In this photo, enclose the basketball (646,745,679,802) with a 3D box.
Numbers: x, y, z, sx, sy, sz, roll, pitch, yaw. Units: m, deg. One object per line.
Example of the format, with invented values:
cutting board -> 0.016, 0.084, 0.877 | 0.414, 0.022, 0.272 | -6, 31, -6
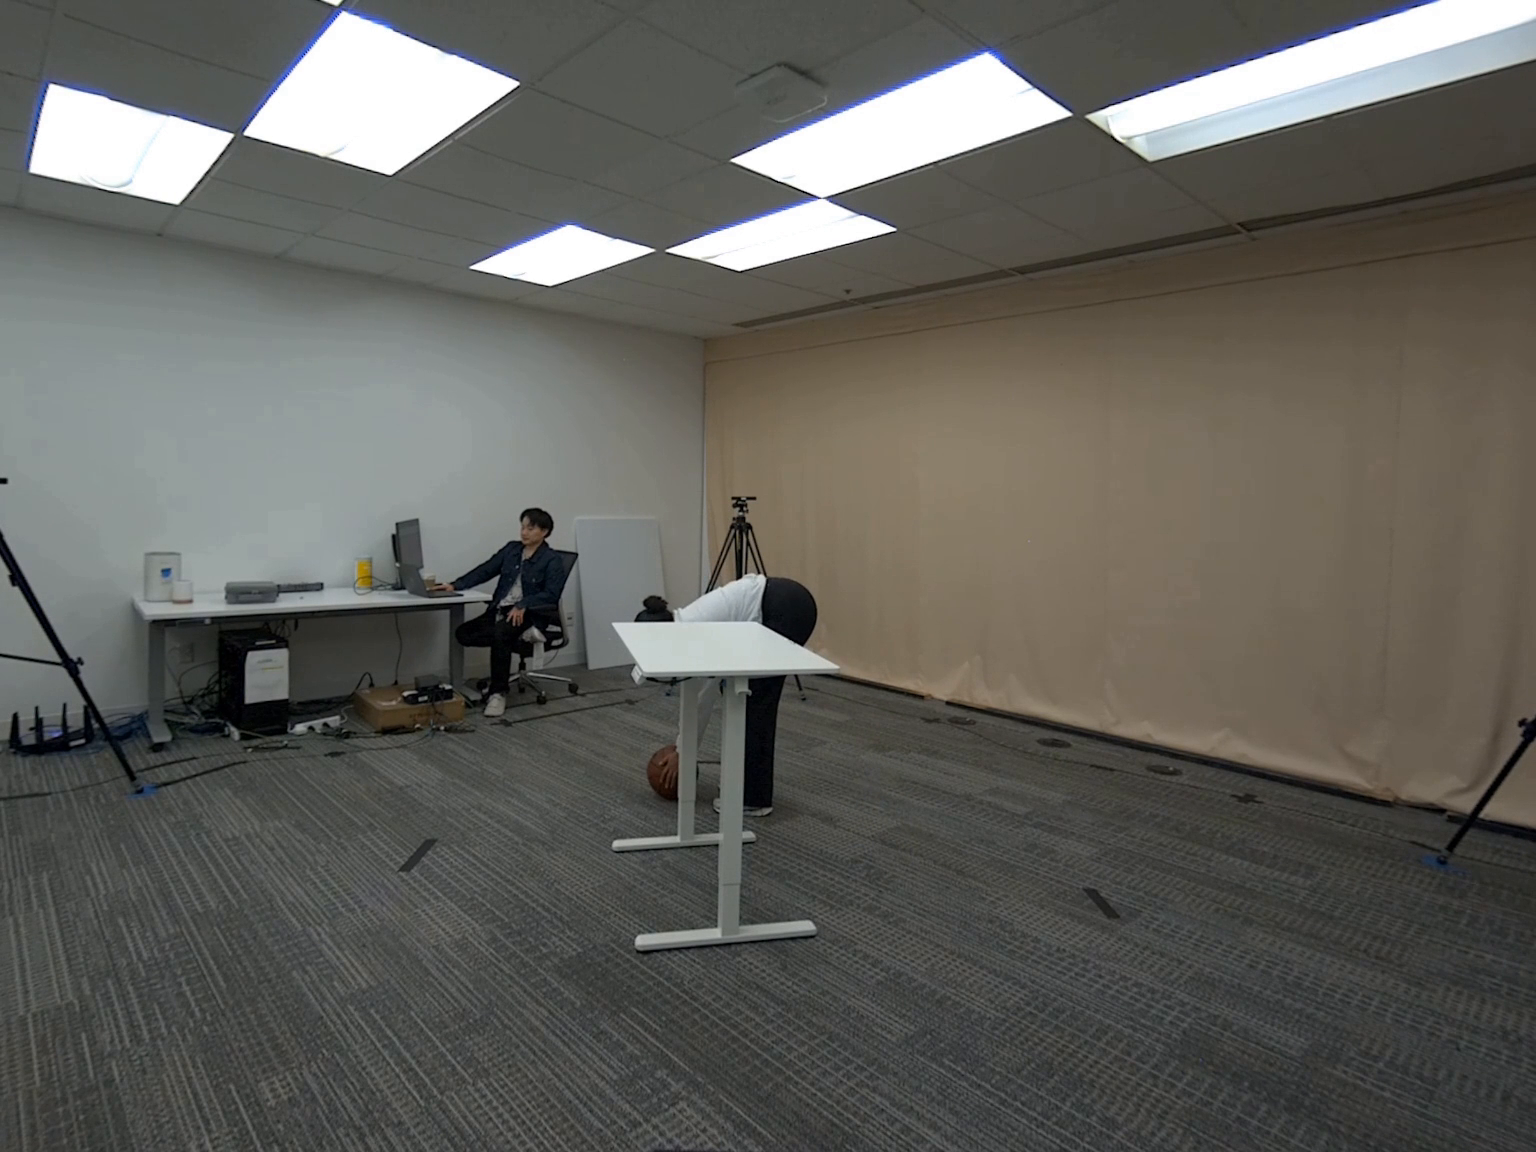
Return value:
basketball -> -0.446, 0.897, 3.914 | 0.236, 0.235, 0.237 | 1, 4, -1
